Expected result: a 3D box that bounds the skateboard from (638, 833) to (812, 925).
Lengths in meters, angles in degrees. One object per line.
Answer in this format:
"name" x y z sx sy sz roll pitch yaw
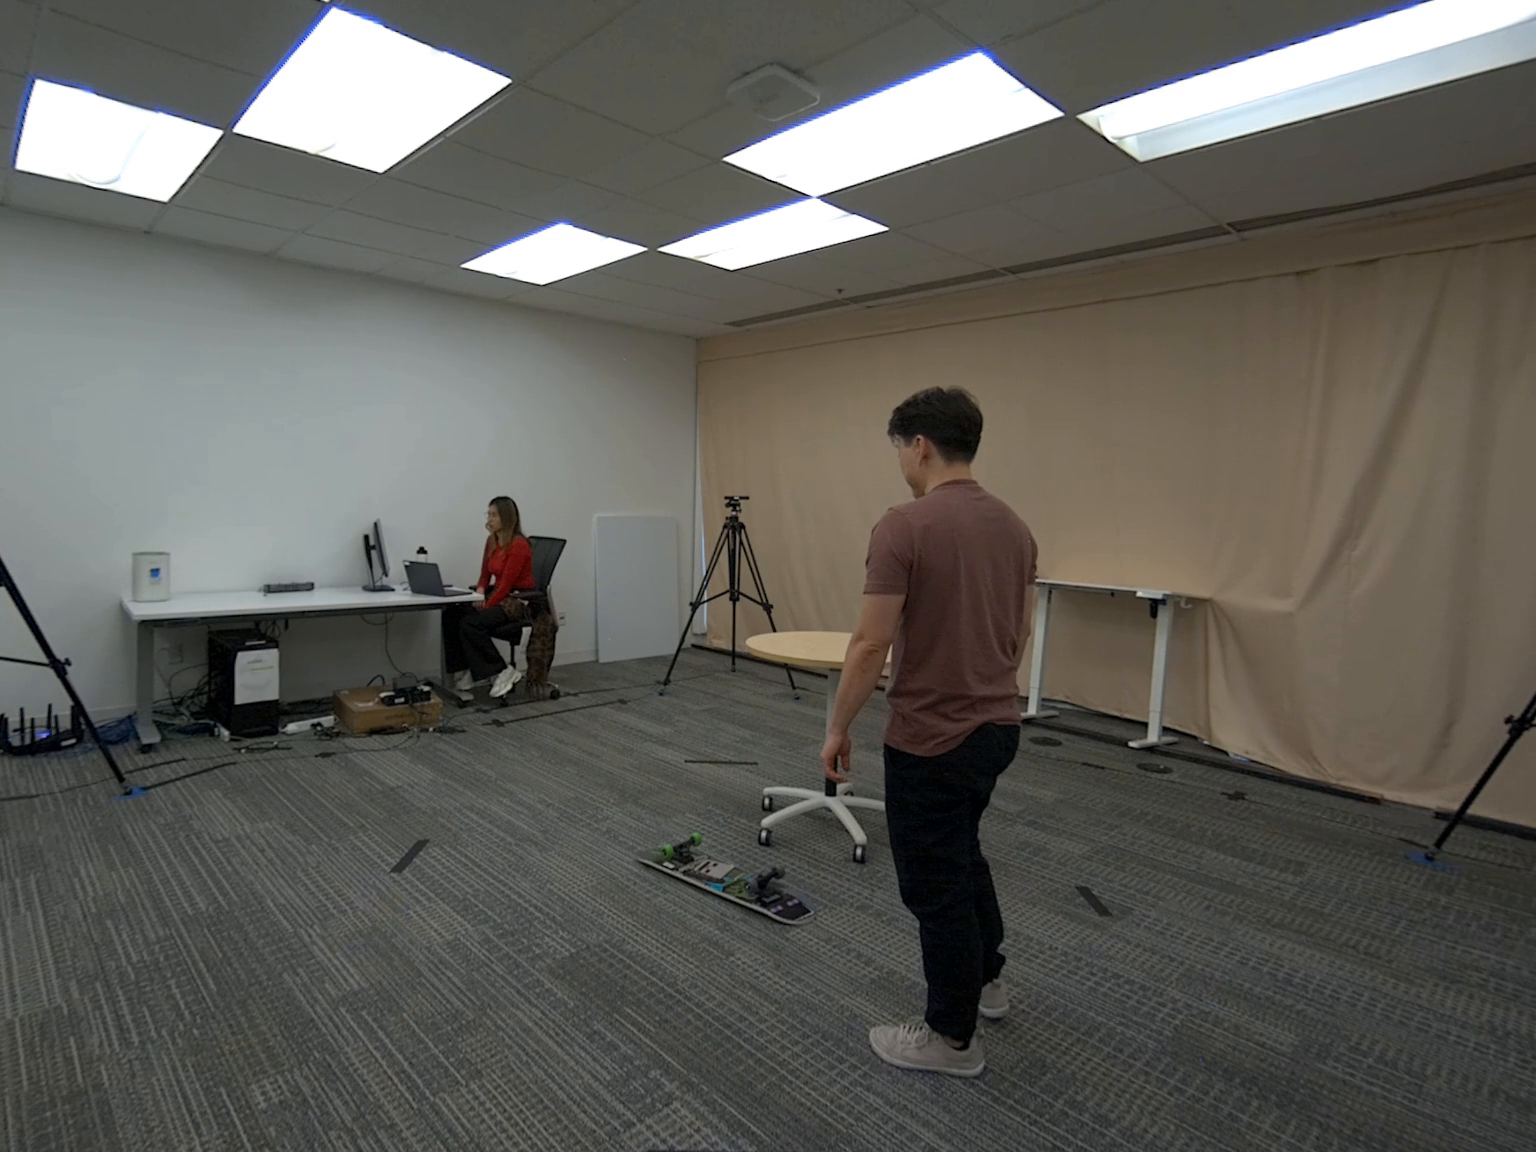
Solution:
"skateboard" -0.177 1.057 3.026 0.805 0.110 0.189 6 5 40
